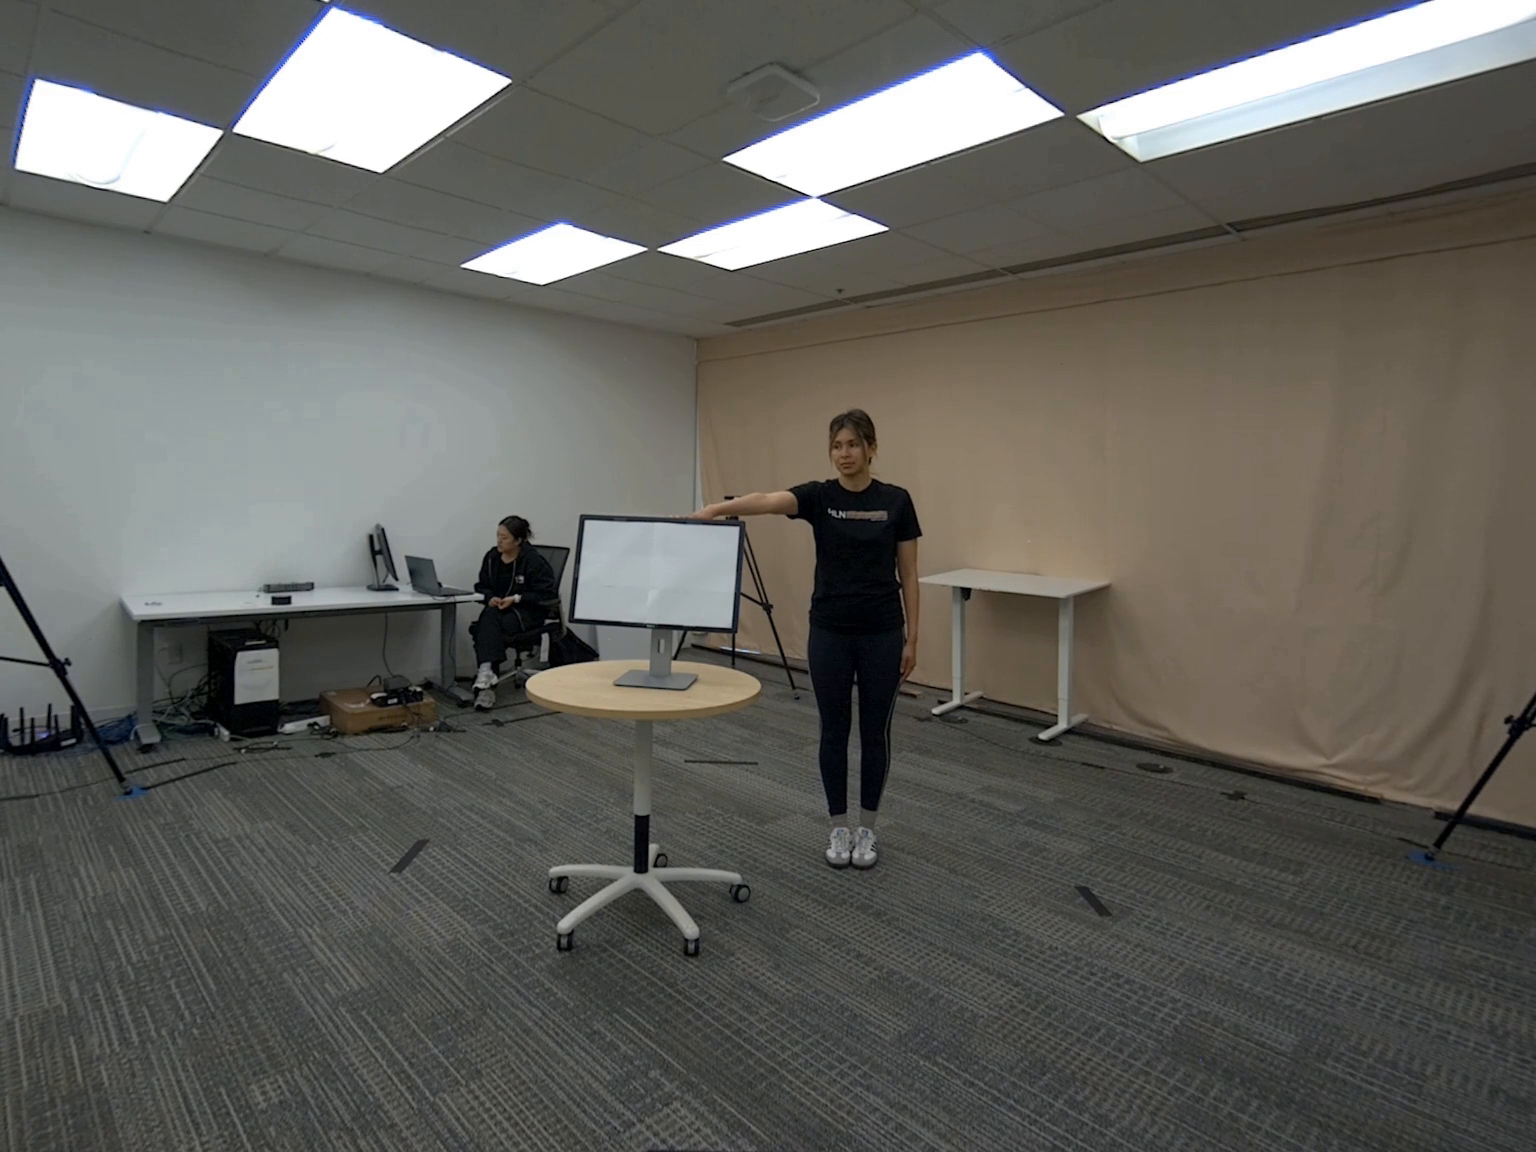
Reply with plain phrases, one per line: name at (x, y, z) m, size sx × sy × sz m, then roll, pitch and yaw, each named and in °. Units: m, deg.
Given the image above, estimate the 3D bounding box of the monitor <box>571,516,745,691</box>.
monitor at (-0.359, 0.089, 2.767) m, size 0.543 × 0.521 × 0.186 m, roll 3°, pitch 3°, yaw 8°
